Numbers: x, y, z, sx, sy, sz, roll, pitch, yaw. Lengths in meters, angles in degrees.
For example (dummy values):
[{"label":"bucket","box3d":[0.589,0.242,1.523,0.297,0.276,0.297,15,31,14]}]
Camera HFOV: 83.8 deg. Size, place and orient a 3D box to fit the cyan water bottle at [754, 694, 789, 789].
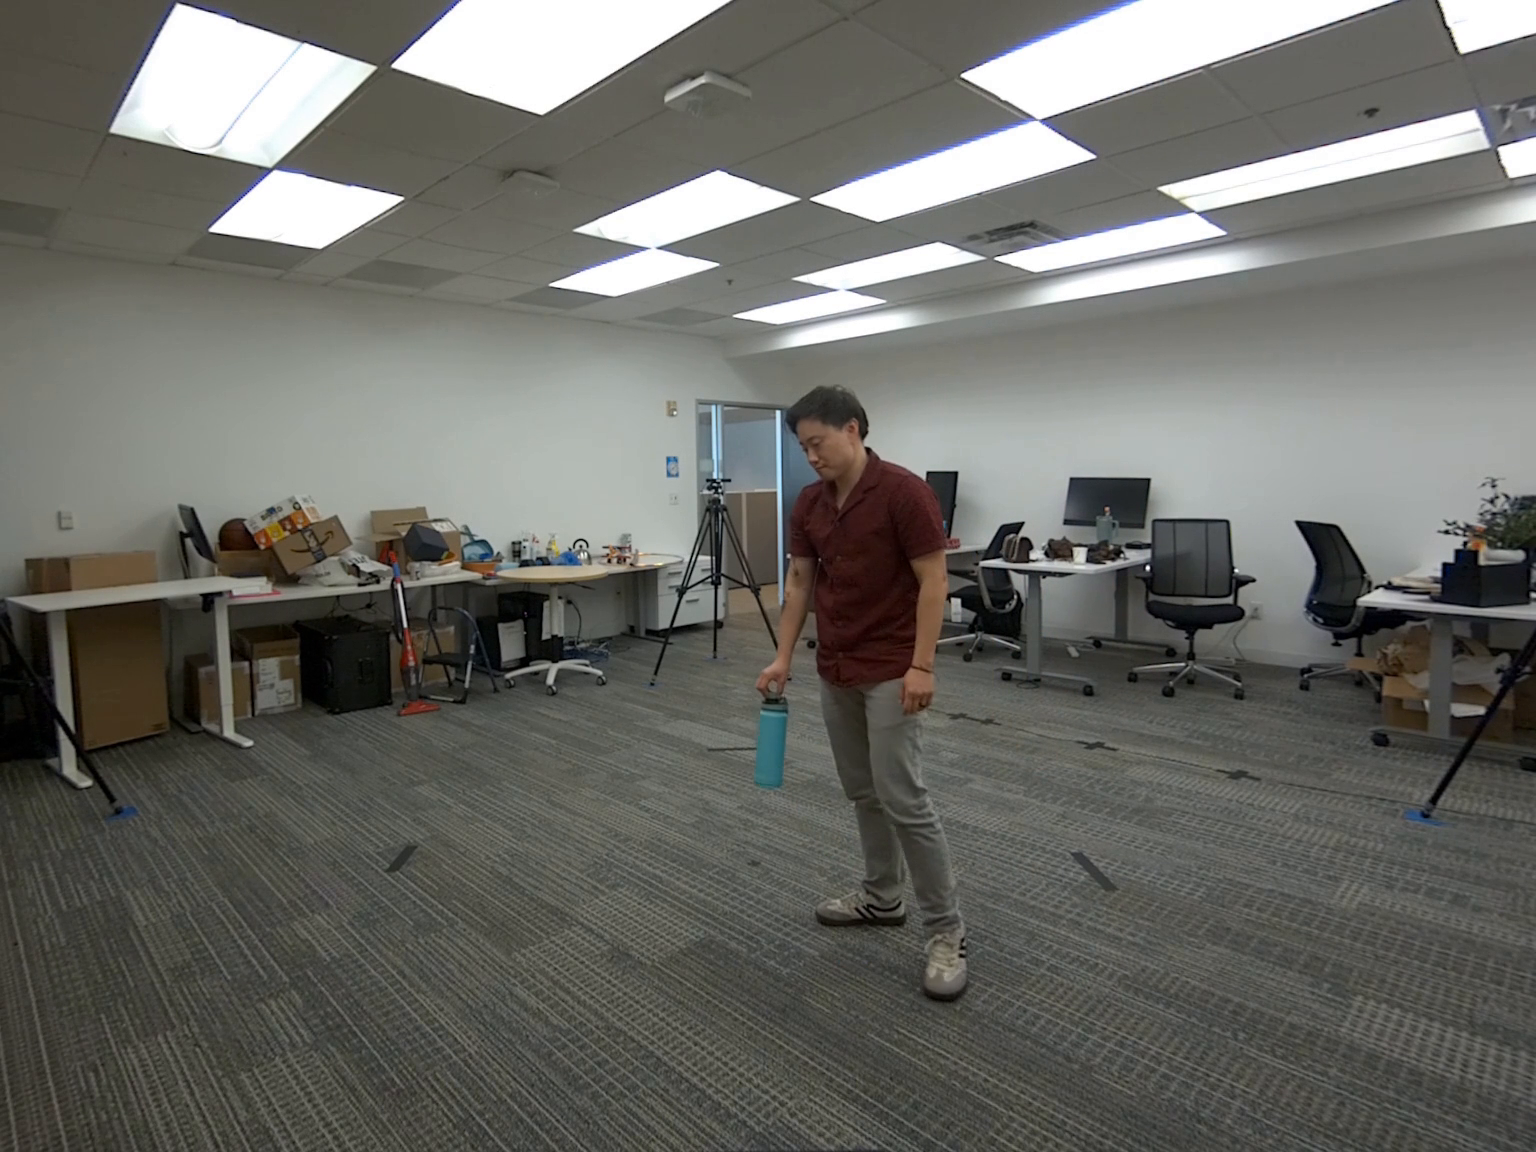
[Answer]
[{"label":"cyan water bottle","box3d":[0.031,0.509,2.635,0.092,0.285,0.092,1,-5,-2]}]
